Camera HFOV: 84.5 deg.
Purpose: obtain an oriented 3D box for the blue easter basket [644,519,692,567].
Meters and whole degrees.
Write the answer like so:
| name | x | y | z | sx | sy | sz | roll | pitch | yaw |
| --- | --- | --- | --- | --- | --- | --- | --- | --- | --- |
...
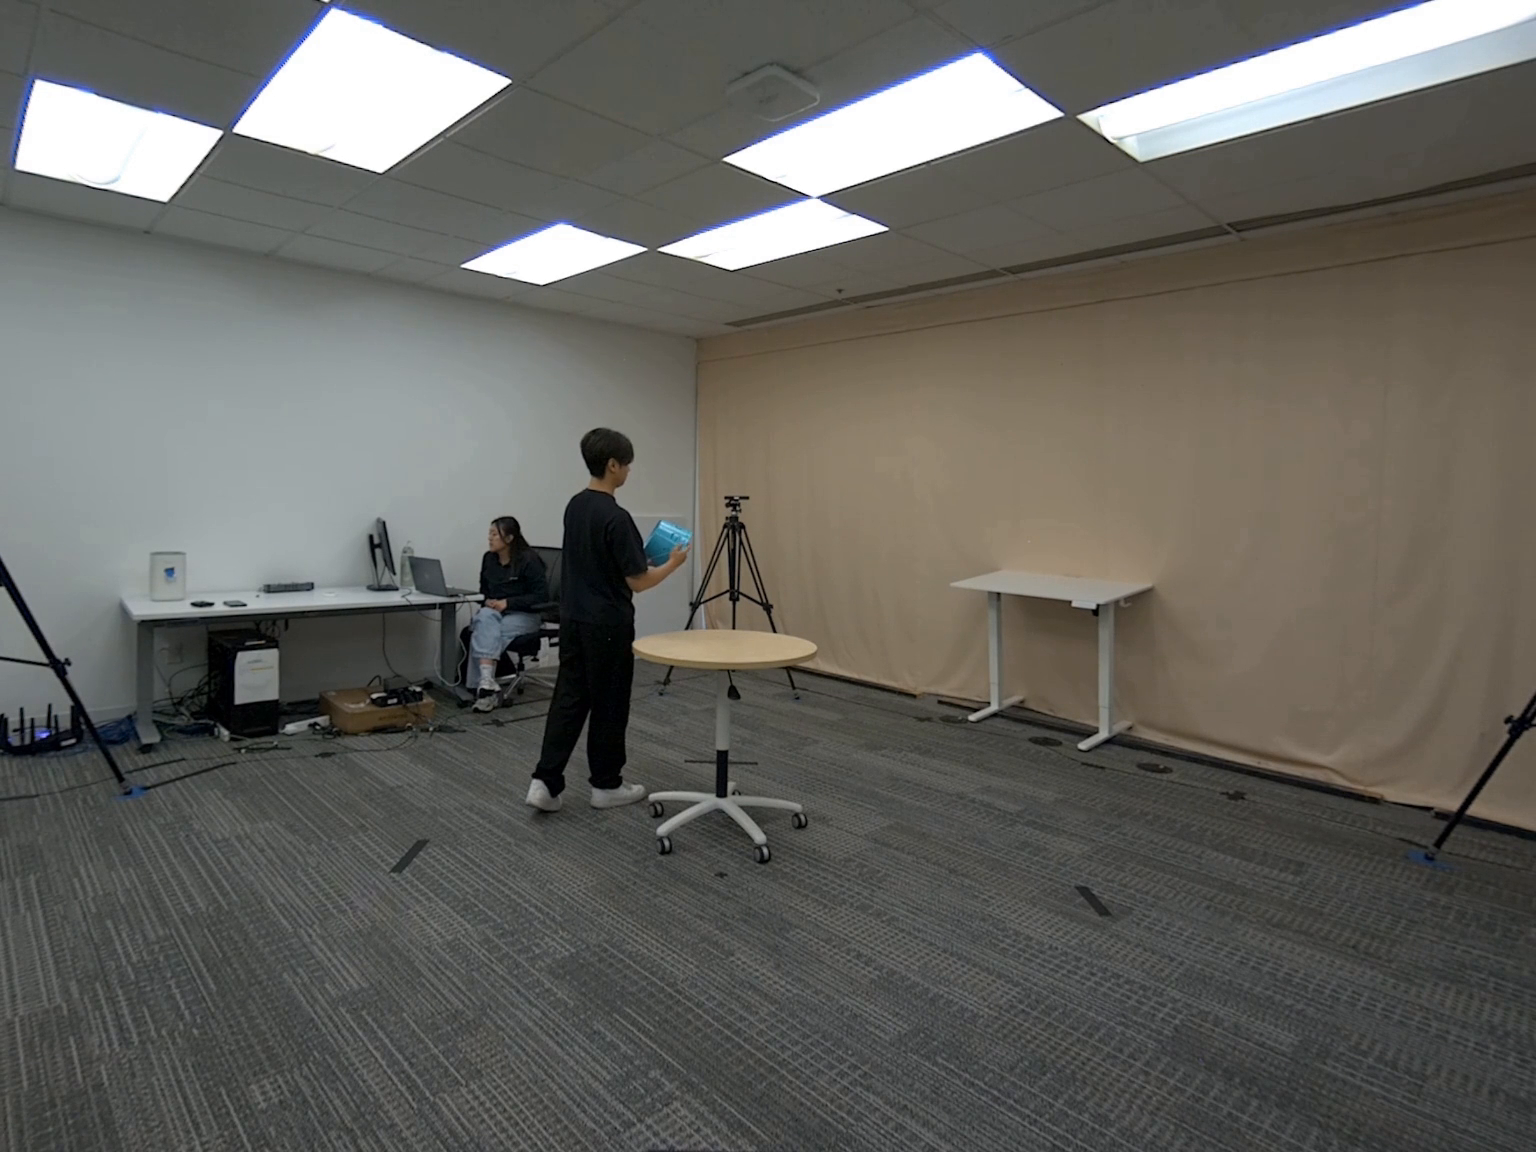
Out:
| name | x | y | z | sx | sy | sz | roll | pitch | yaw |
| --- | --- | --- | --- | --- | --- | --- | --- | --- | --- |
| blue easter basket | -0.497 | -0.146 | 3.928 | 0.154 | 0.243 | 0.246 | 31 | -1 | -11 |
